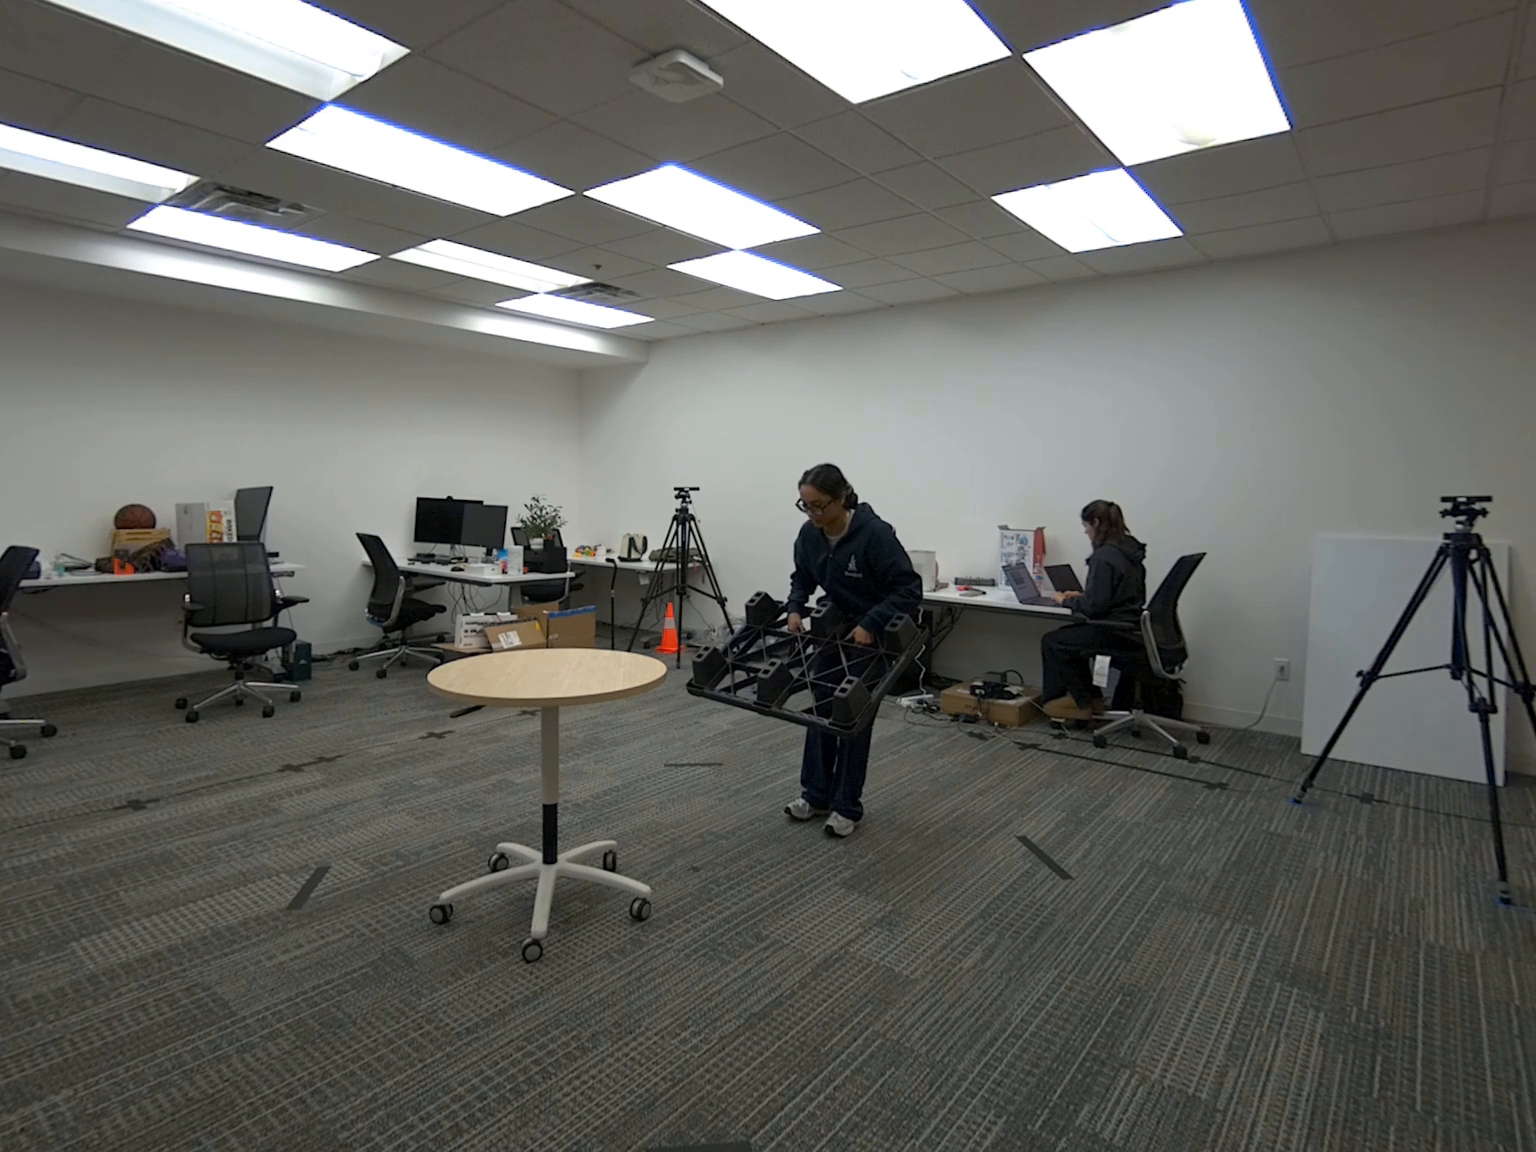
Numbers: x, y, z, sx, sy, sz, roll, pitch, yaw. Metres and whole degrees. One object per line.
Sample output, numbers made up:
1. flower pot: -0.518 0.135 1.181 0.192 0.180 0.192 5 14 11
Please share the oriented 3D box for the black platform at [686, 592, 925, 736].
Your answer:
1. black platform: 0.116 0.296 3.312 0.833 0.139 0.603 7 40 40
